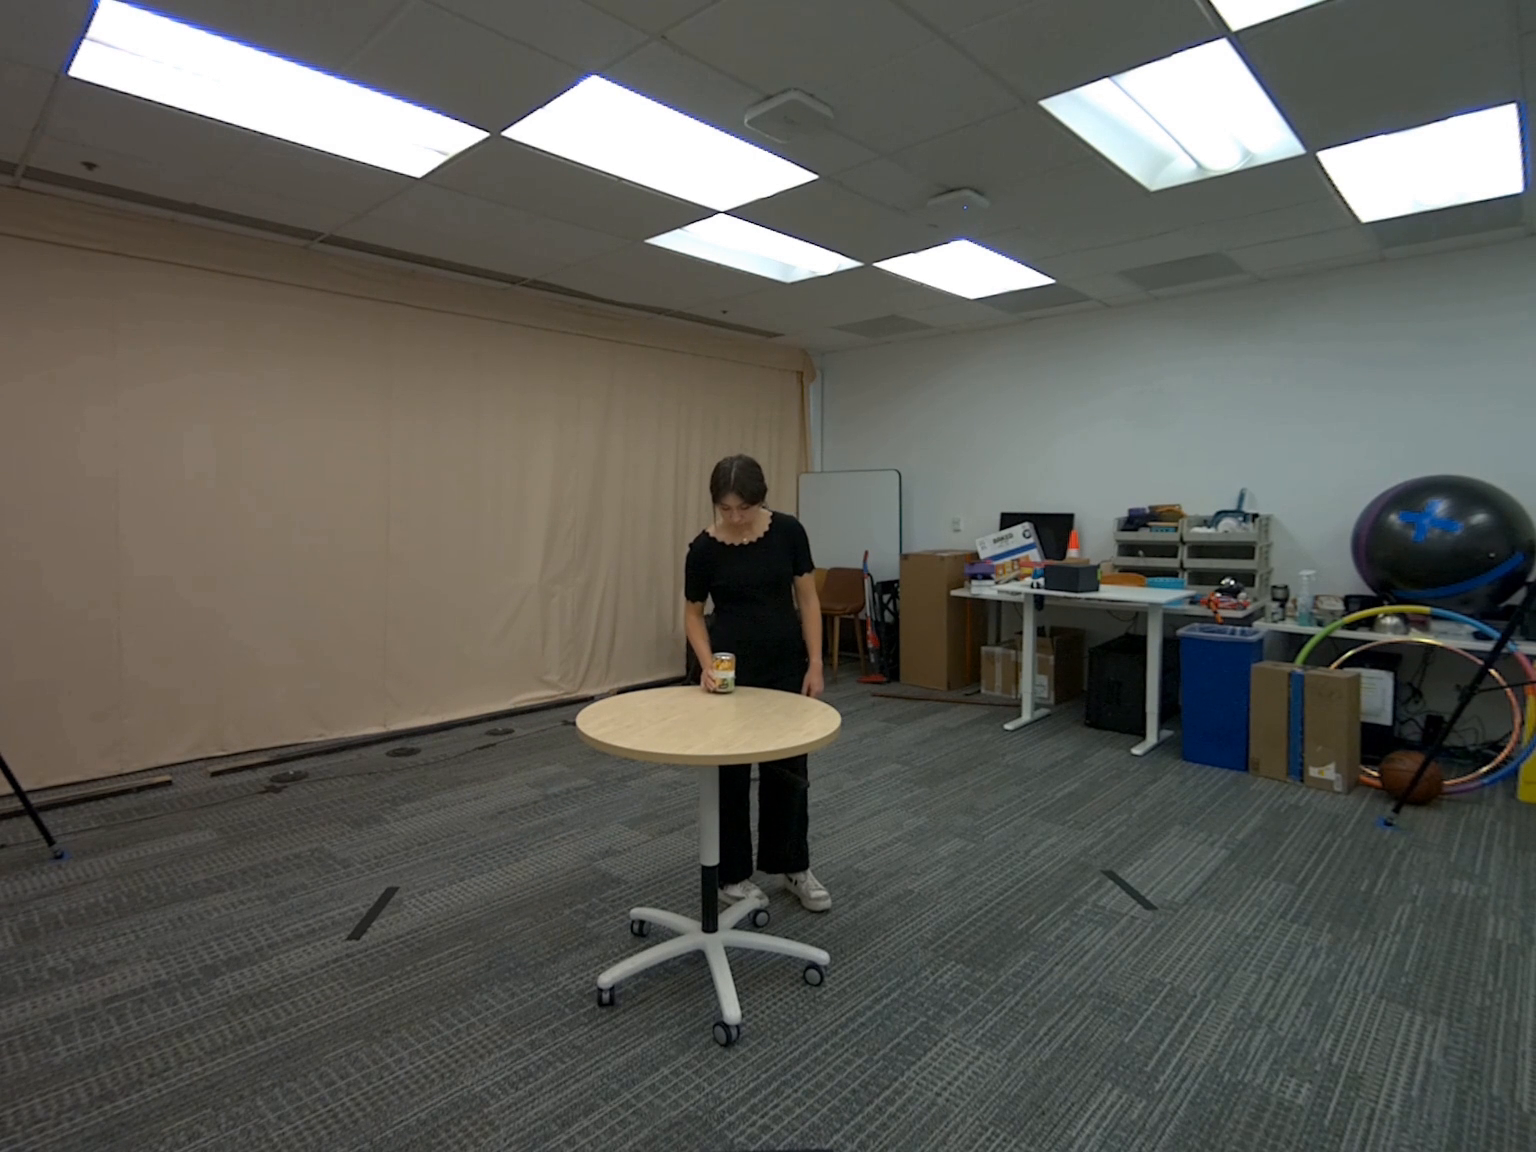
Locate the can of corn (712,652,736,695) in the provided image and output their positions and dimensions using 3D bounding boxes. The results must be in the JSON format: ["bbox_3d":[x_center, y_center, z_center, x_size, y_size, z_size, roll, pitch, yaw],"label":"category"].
[{"bbox_3d":[-0.137,0.312,2.732,0.074,0.111,0.074,-2,2,-2],"label":"can of corn"}]
